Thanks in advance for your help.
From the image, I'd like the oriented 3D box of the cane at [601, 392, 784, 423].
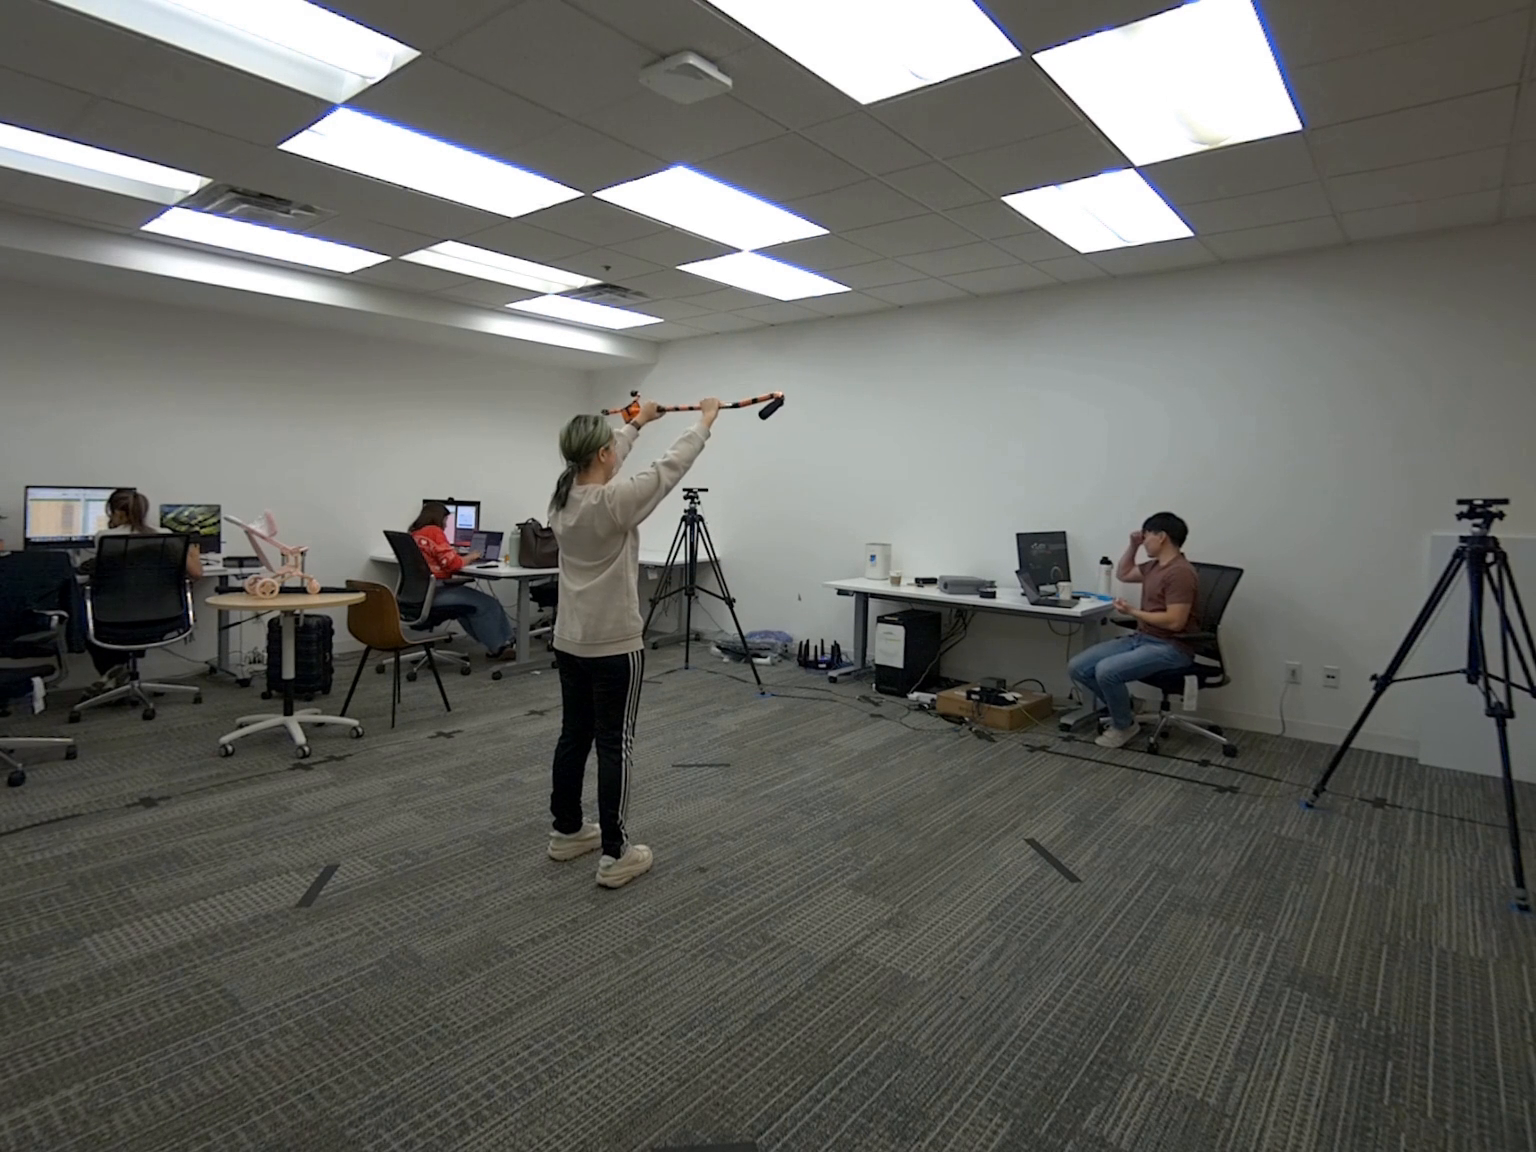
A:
[{"bbox_3d":[-0.291,-0.637,3.295,0.940,0.147,0.206,8,41,45],"label":"cane"}]
